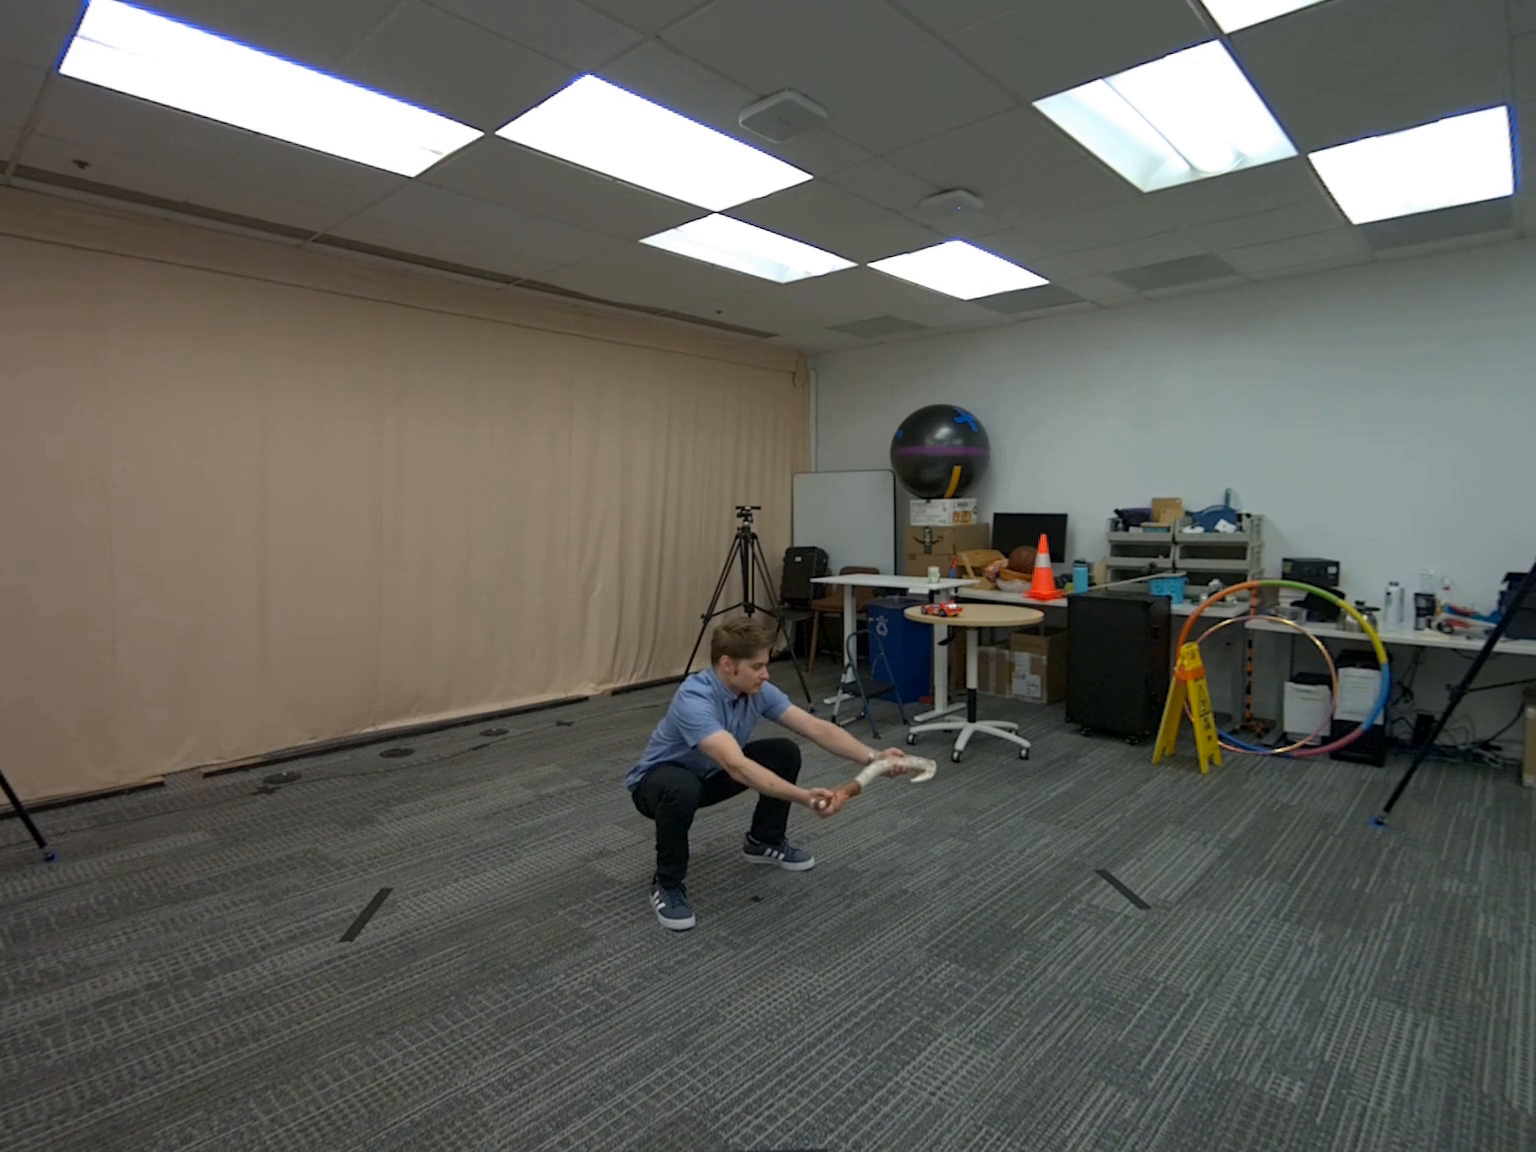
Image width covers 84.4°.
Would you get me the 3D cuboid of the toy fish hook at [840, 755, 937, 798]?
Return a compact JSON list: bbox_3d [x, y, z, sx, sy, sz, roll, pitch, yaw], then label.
[{"bbox_3d":[0.341,0.639,2.598,0.231,0.048,0.492,-7,3,43],"label":"toy fish hook"}]
